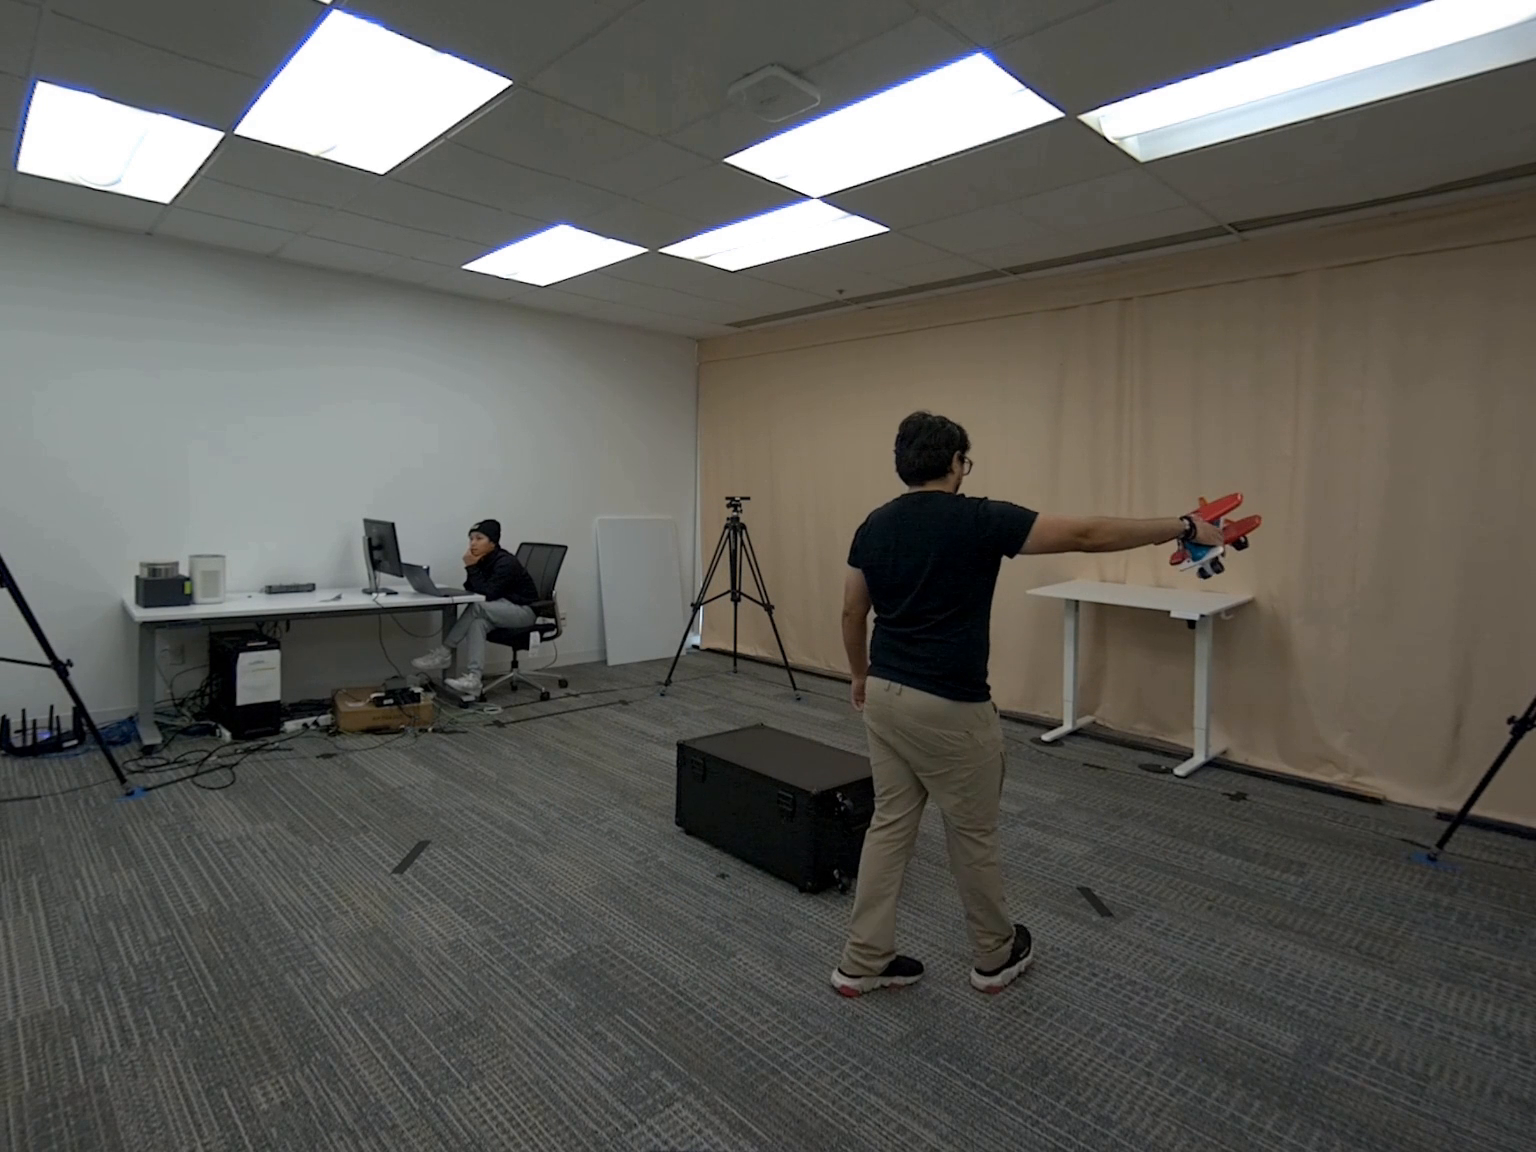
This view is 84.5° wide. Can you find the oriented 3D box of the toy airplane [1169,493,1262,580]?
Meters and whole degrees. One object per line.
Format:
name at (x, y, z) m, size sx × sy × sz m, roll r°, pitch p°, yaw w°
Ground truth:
toy airplane at (1.195, -0.105, 2.266) m, size 0.252 × 0.158 × 0.256 m, roll -34°, pitch -6°, yaw 15°
